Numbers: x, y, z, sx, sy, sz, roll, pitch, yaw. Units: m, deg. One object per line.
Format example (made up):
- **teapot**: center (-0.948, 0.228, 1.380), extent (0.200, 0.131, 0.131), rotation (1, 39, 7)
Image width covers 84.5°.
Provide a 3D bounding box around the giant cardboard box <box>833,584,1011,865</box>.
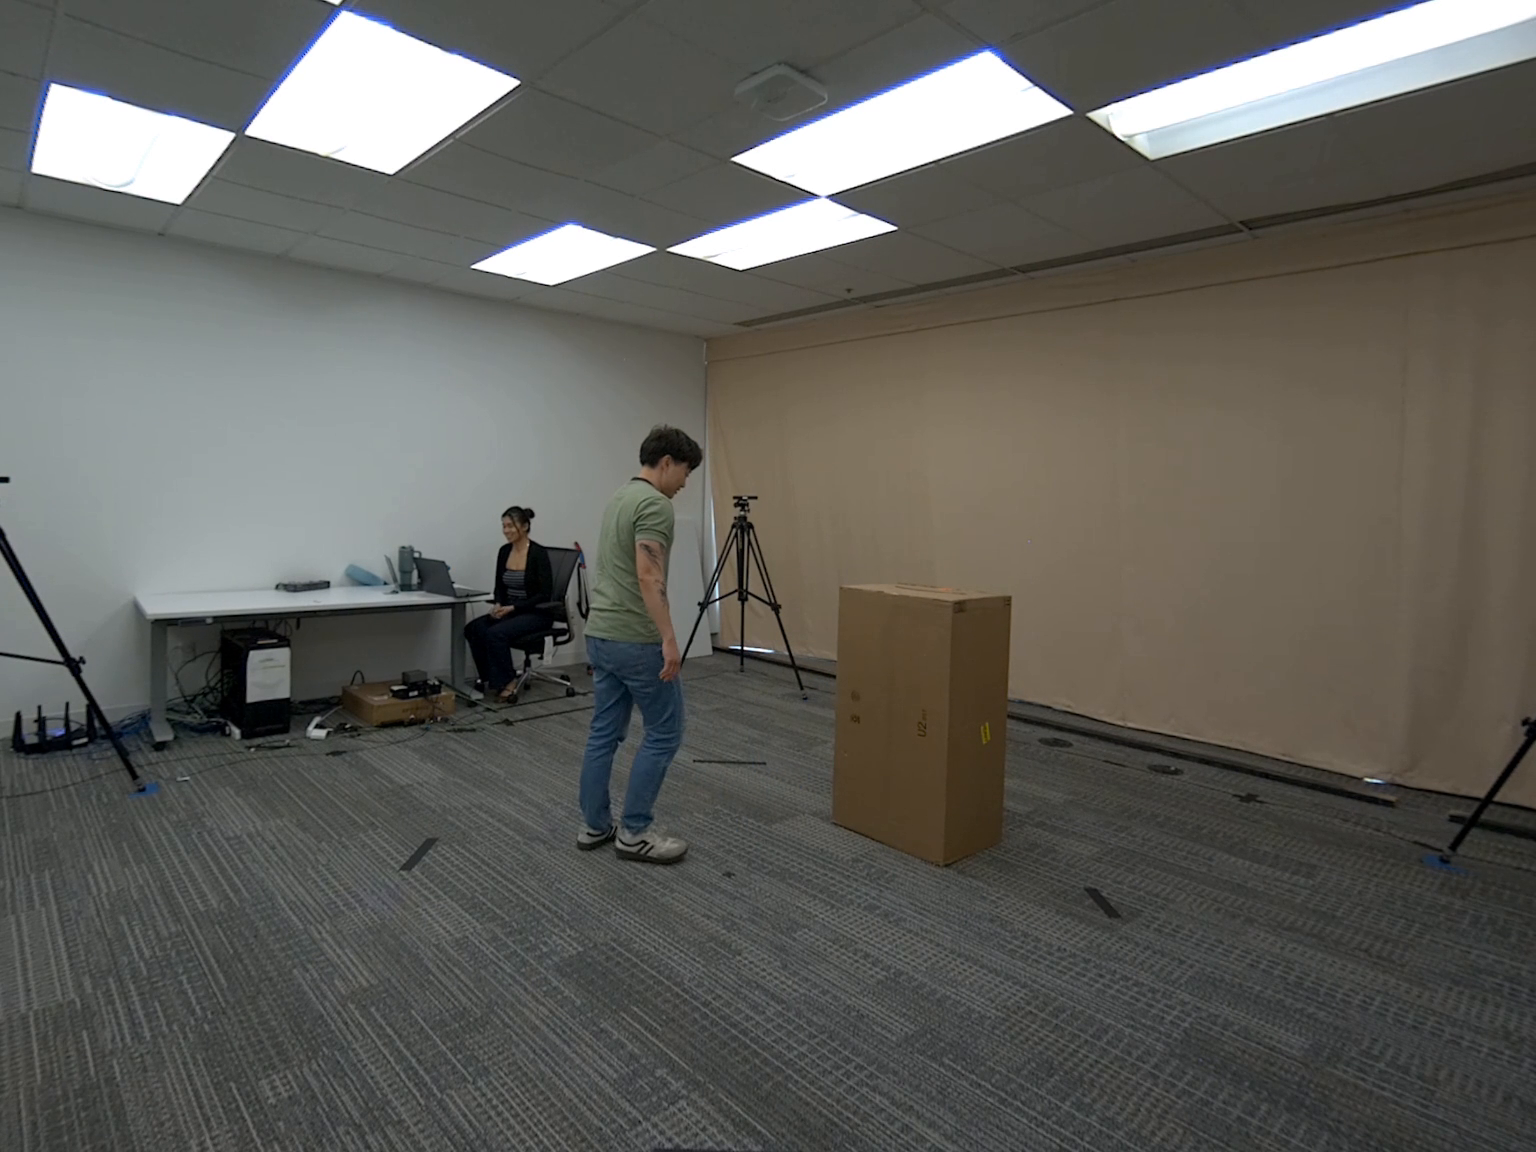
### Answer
- **giant cardboard box**: center (0.631, 0.572, 3.546), extent (0.416, 1.024, 0.592), rotation (0, 4, -43)
